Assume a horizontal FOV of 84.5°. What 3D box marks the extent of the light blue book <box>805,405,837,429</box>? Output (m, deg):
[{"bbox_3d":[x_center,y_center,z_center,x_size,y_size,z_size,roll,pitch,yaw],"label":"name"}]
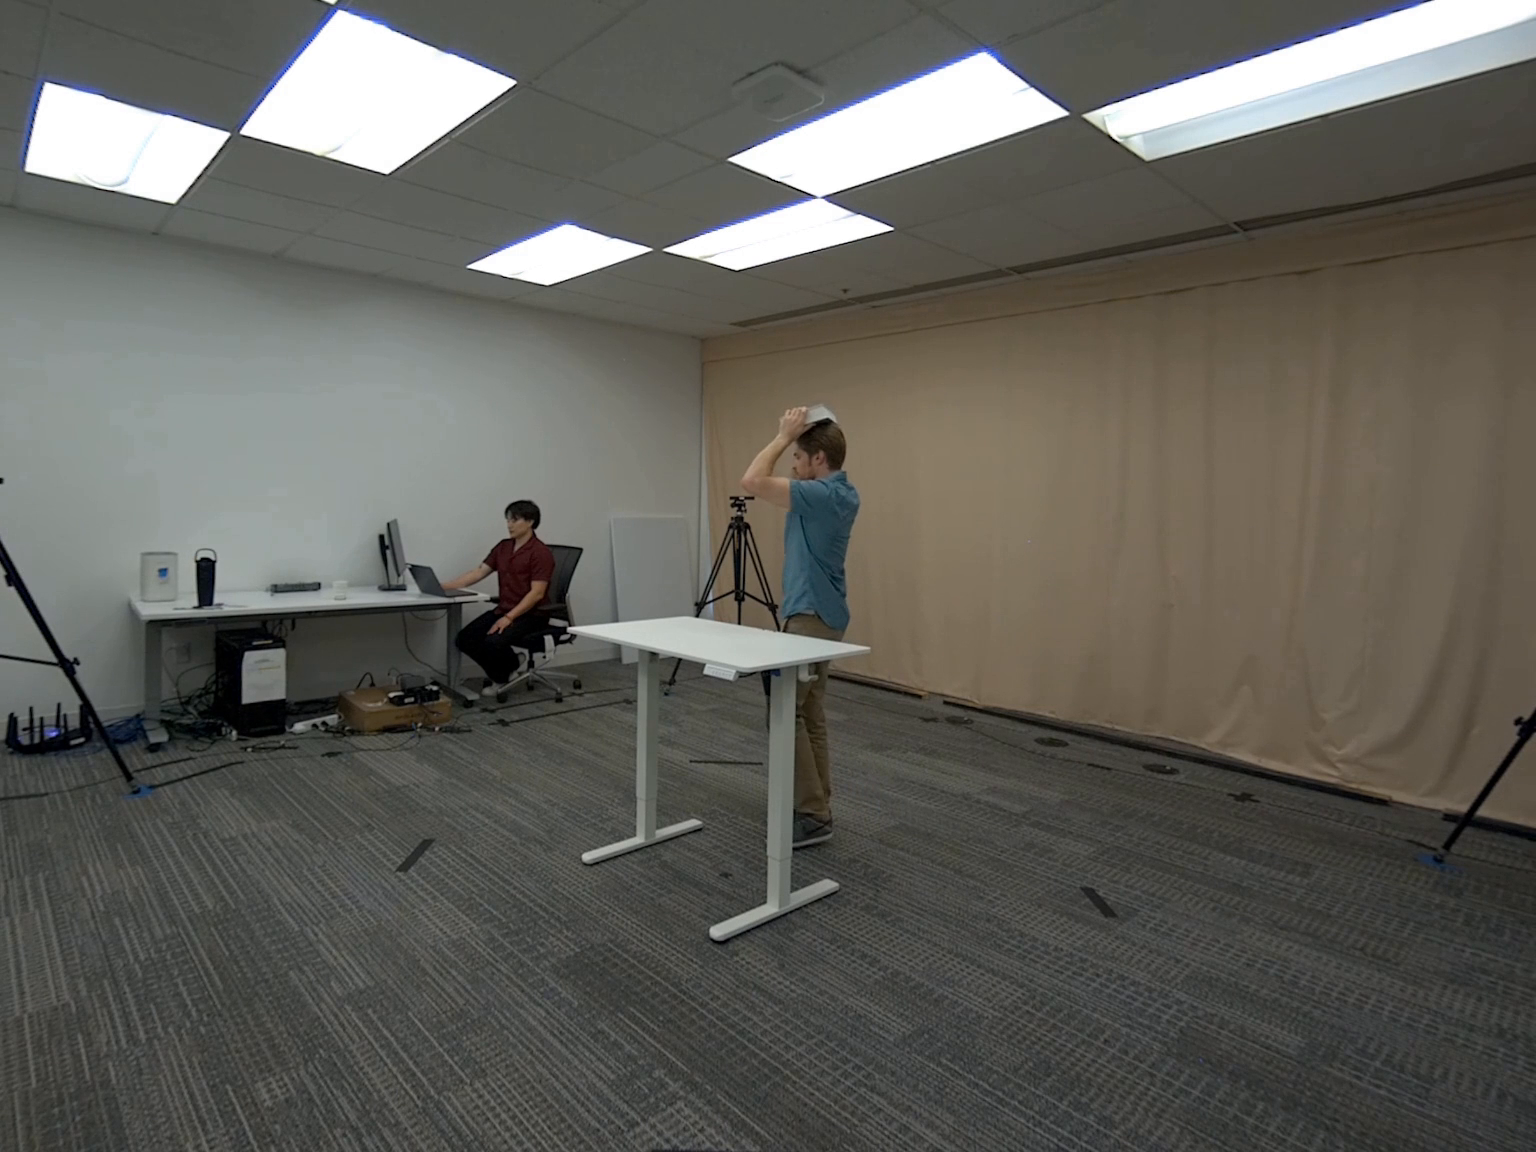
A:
[{"bbox_3d":[0.171,-0.634,3.463,0.193,0.059,0.258,-16,-2,15],"label":"light blue book"}]
